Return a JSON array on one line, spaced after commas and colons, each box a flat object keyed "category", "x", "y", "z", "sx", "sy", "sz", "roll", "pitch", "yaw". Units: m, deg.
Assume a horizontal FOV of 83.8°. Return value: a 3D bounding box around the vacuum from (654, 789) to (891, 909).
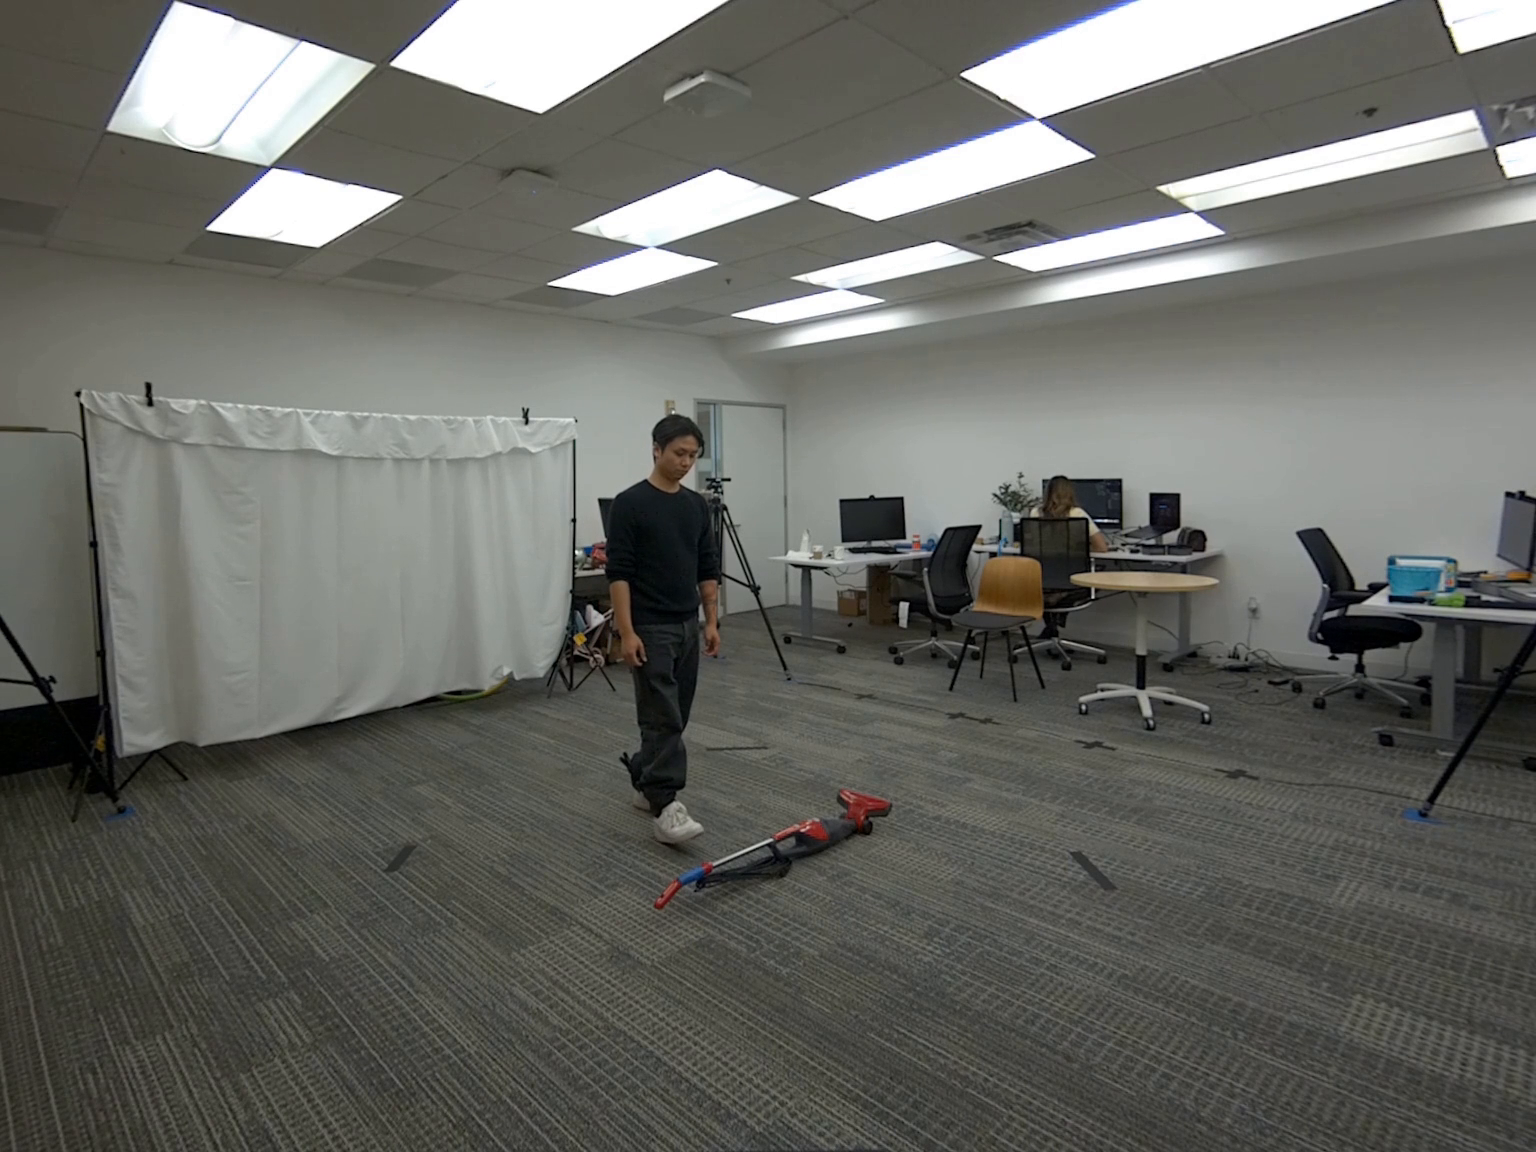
[{"category": "vacuum", "x": 0.018, "y": 0.990, "z": 3.039, "sx": 1.023, "sy": 0.143, "sz": 0.260, "roll": -9, "pitch": 8, "yaw": -44}]
